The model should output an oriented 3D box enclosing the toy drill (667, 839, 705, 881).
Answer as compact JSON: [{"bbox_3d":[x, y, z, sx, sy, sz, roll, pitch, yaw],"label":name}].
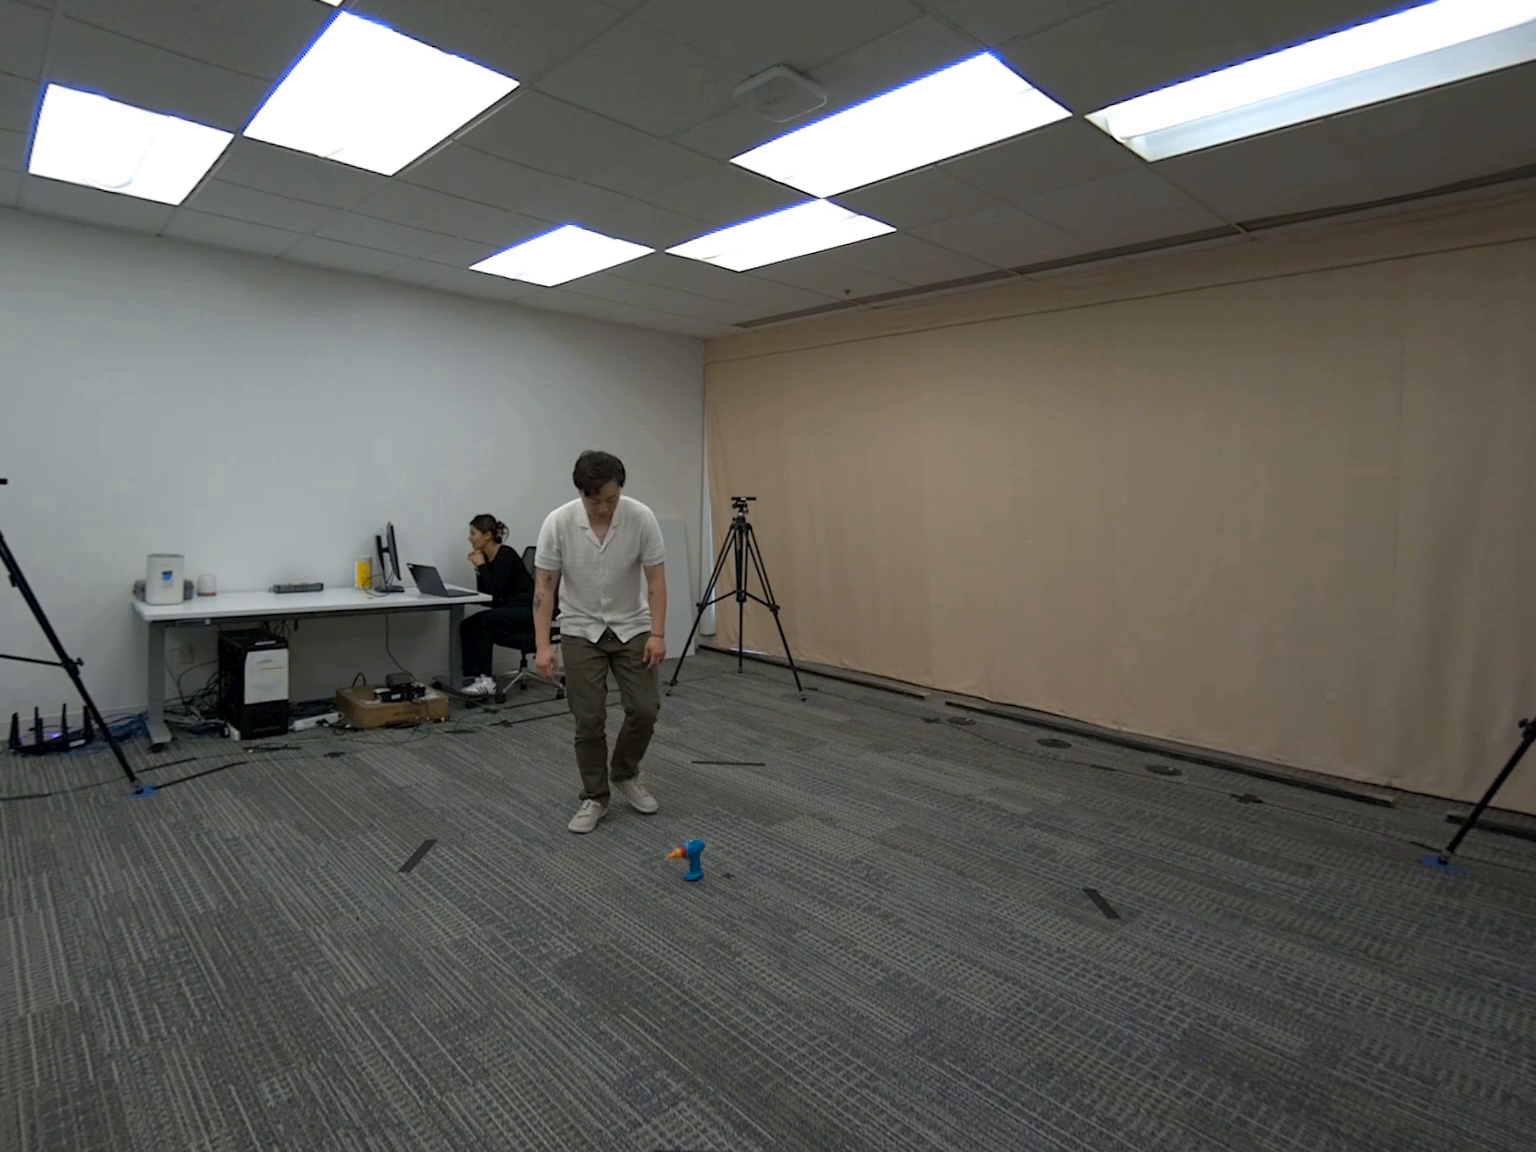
[{"bbox_3d":[-0.306,1.040,3.050,0.166,0.145,0.063,-6,7,-43],"label":"toy drill"}]
